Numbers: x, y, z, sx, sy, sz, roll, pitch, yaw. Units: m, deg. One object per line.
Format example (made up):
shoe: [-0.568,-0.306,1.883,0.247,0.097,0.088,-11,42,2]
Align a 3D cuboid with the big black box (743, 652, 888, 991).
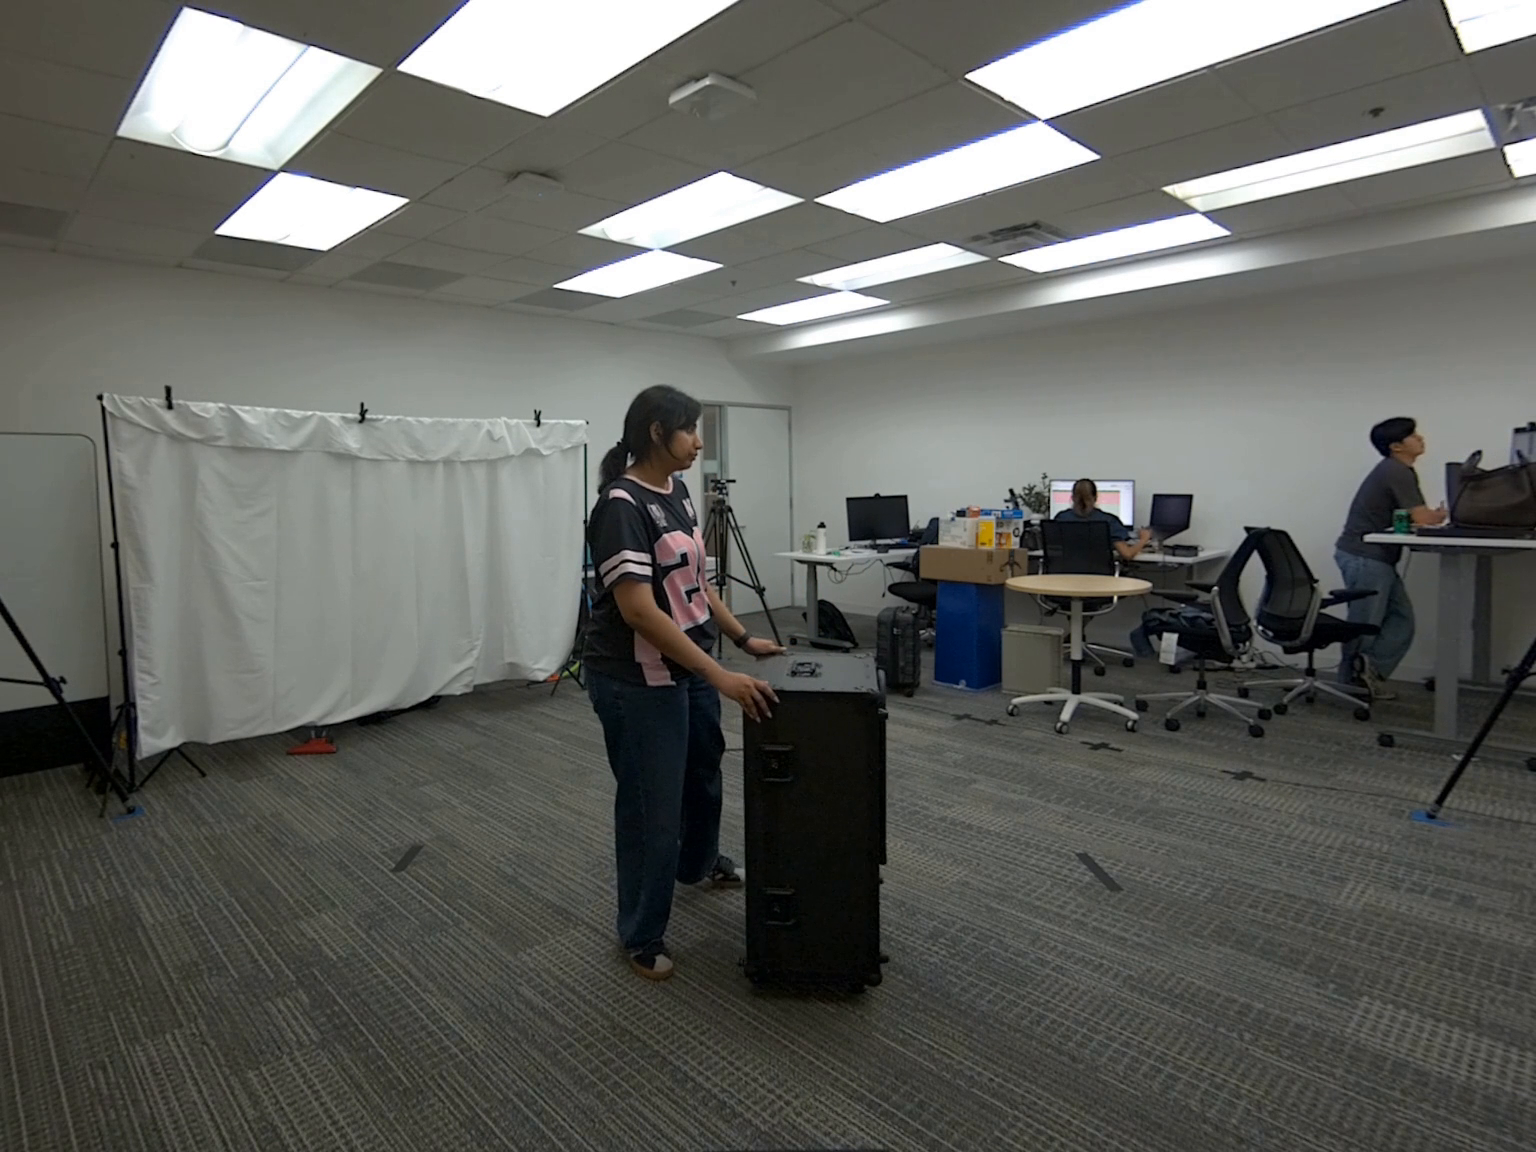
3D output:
big black box: [0.144,0.691,2.469,0.388,0.865,0.522,0,4,6]
